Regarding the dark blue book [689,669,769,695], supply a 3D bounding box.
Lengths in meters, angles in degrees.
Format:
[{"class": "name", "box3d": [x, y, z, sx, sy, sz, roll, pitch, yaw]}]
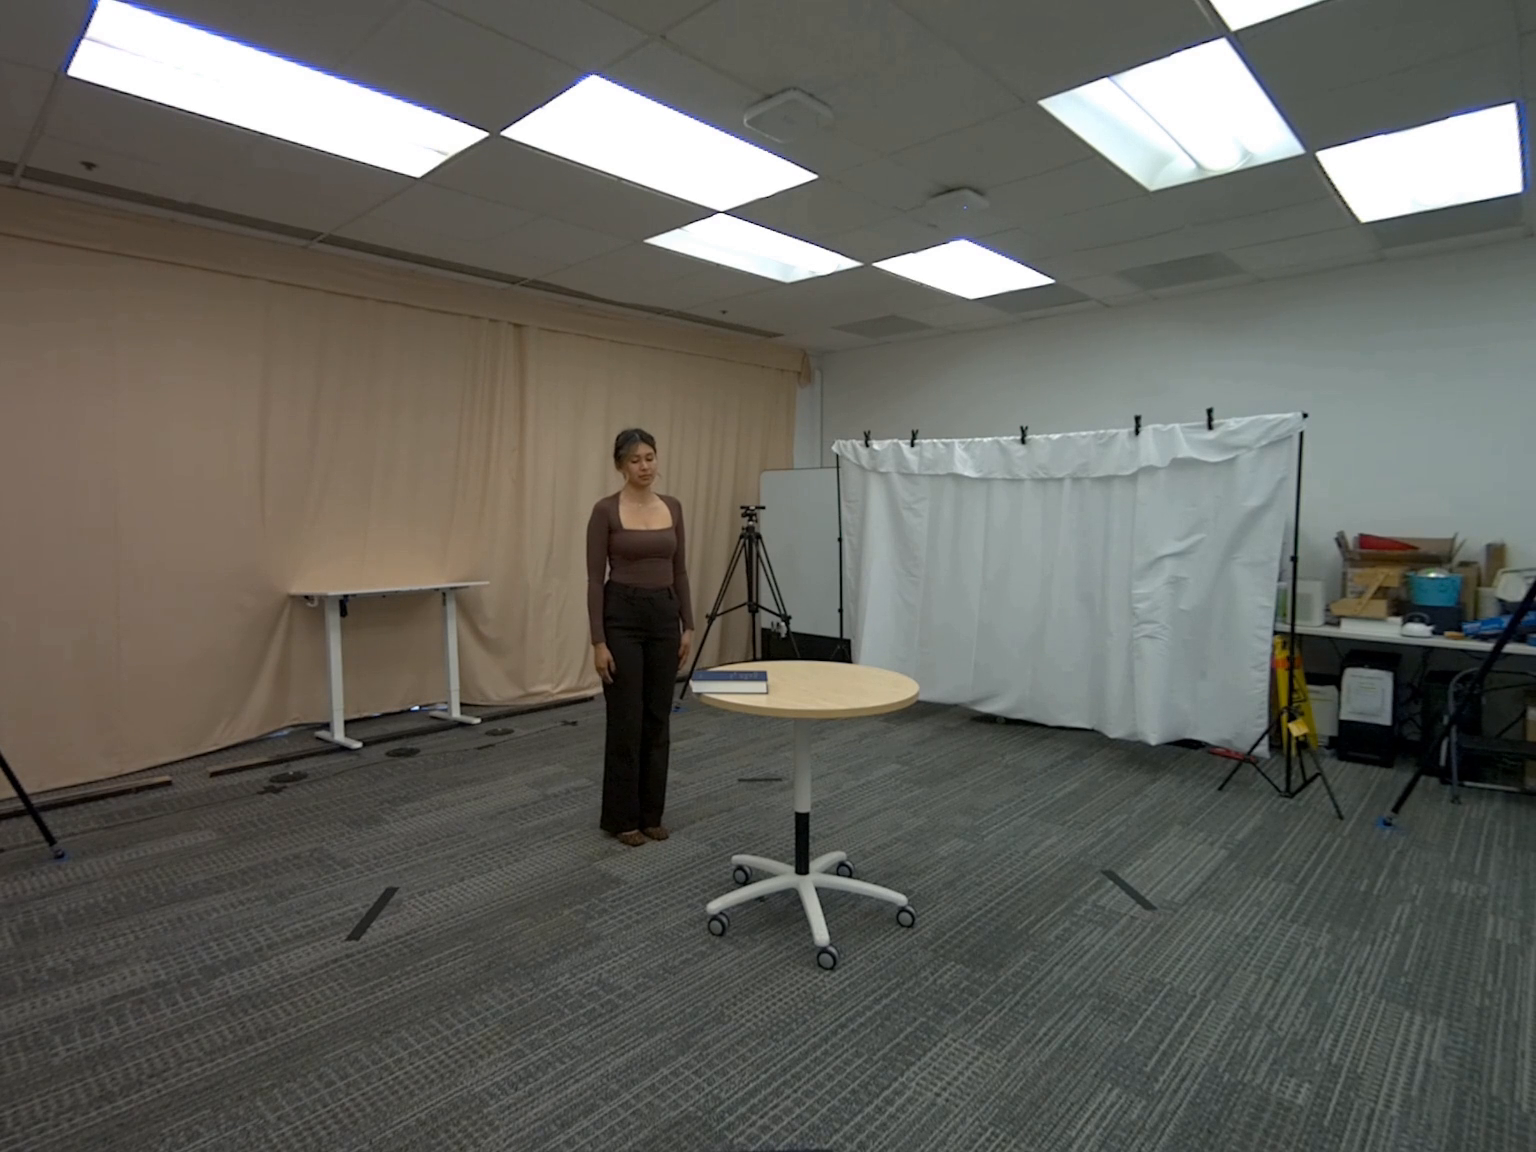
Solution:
[{"class": "dark blue book", "box3d": [-0.112, 0.346, 2.733, 0.245, 0.045, 0.163, 0, 5, 1]}]
